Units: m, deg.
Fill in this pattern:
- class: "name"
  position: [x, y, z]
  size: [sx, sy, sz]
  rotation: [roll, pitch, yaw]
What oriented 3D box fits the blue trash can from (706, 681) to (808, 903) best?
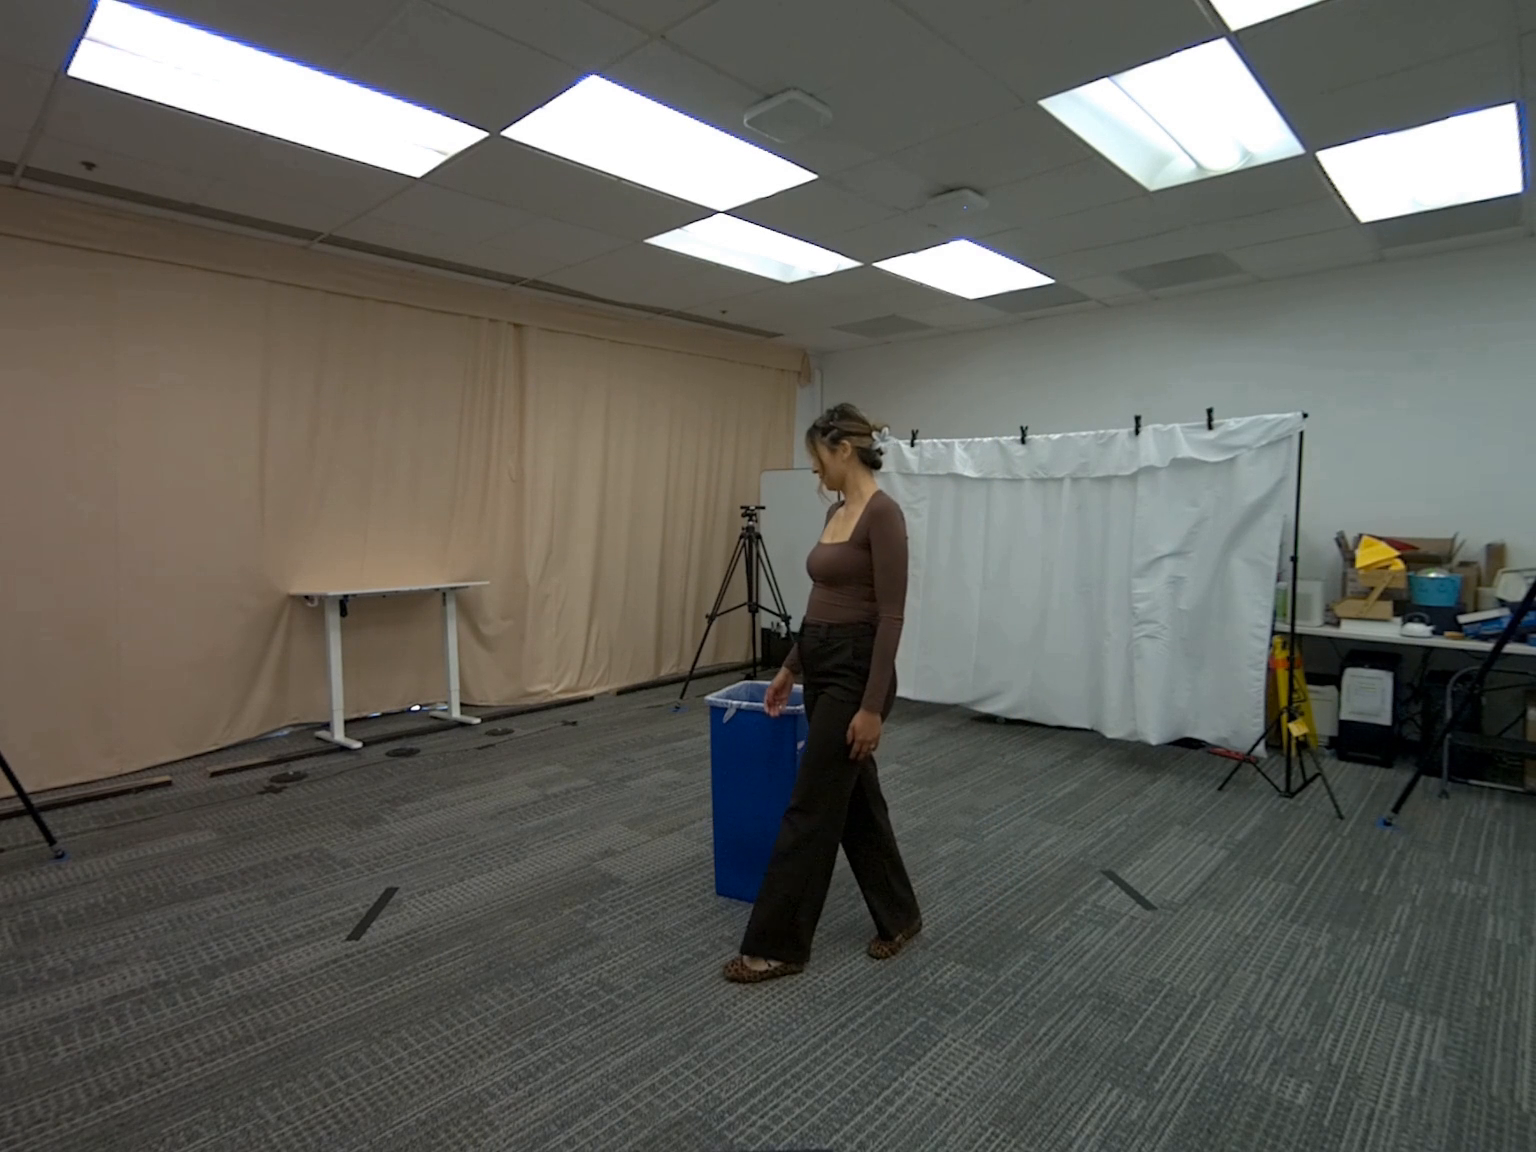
- class: "blue trash can"
  position: [0.001, 0.778, 3.062]
  size: [0.384, 0.712, 0.369]
  rotation: [3, 4, 25]
